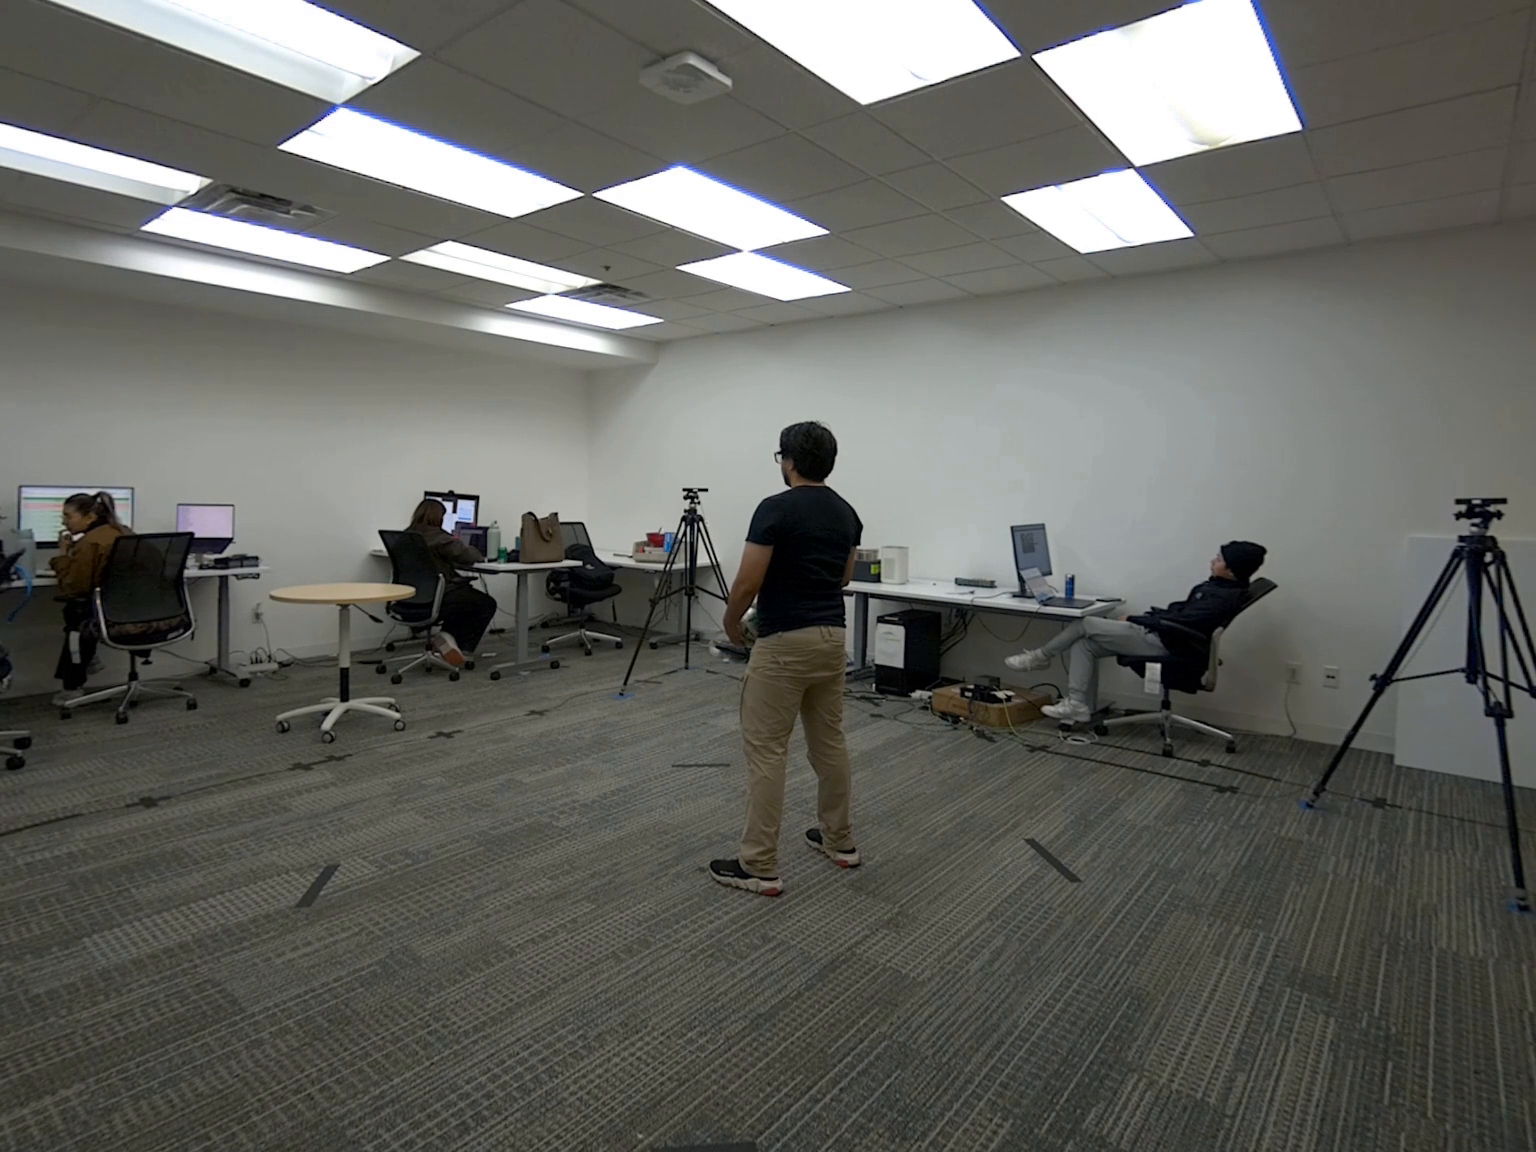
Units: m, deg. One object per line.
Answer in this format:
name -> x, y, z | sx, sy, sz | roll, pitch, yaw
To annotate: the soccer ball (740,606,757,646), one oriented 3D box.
soccer ball -> -0.074, 0.176, 3.363 | 0.187, 0.187, 0.188 | 1, 4, -2
